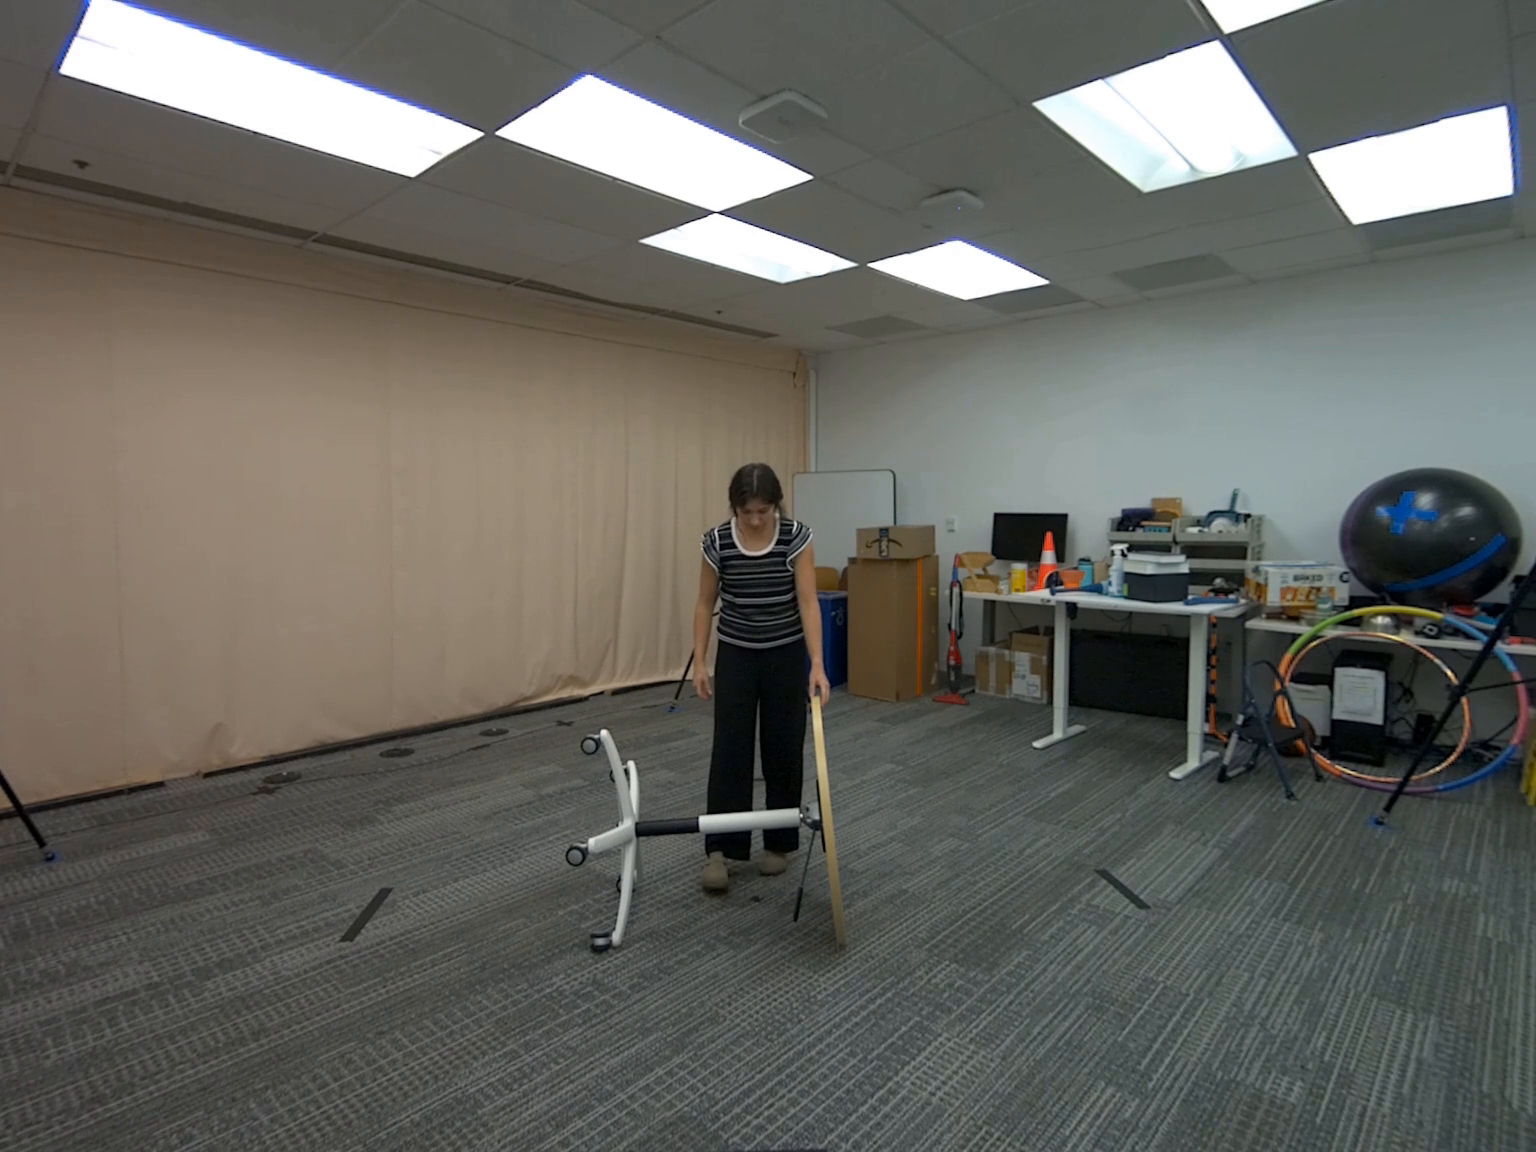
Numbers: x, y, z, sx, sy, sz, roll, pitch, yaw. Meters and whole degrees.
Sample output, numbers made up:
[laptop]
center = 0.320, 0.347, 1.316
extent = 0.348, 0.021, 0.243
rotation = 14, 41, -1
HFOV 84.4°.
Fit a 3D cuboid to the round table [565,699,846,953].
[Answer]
[round table]
center = -0.187, 0.832, 2.787
extent = 0.798, 0.762, 0.762
rotation = -6, 3, 4
